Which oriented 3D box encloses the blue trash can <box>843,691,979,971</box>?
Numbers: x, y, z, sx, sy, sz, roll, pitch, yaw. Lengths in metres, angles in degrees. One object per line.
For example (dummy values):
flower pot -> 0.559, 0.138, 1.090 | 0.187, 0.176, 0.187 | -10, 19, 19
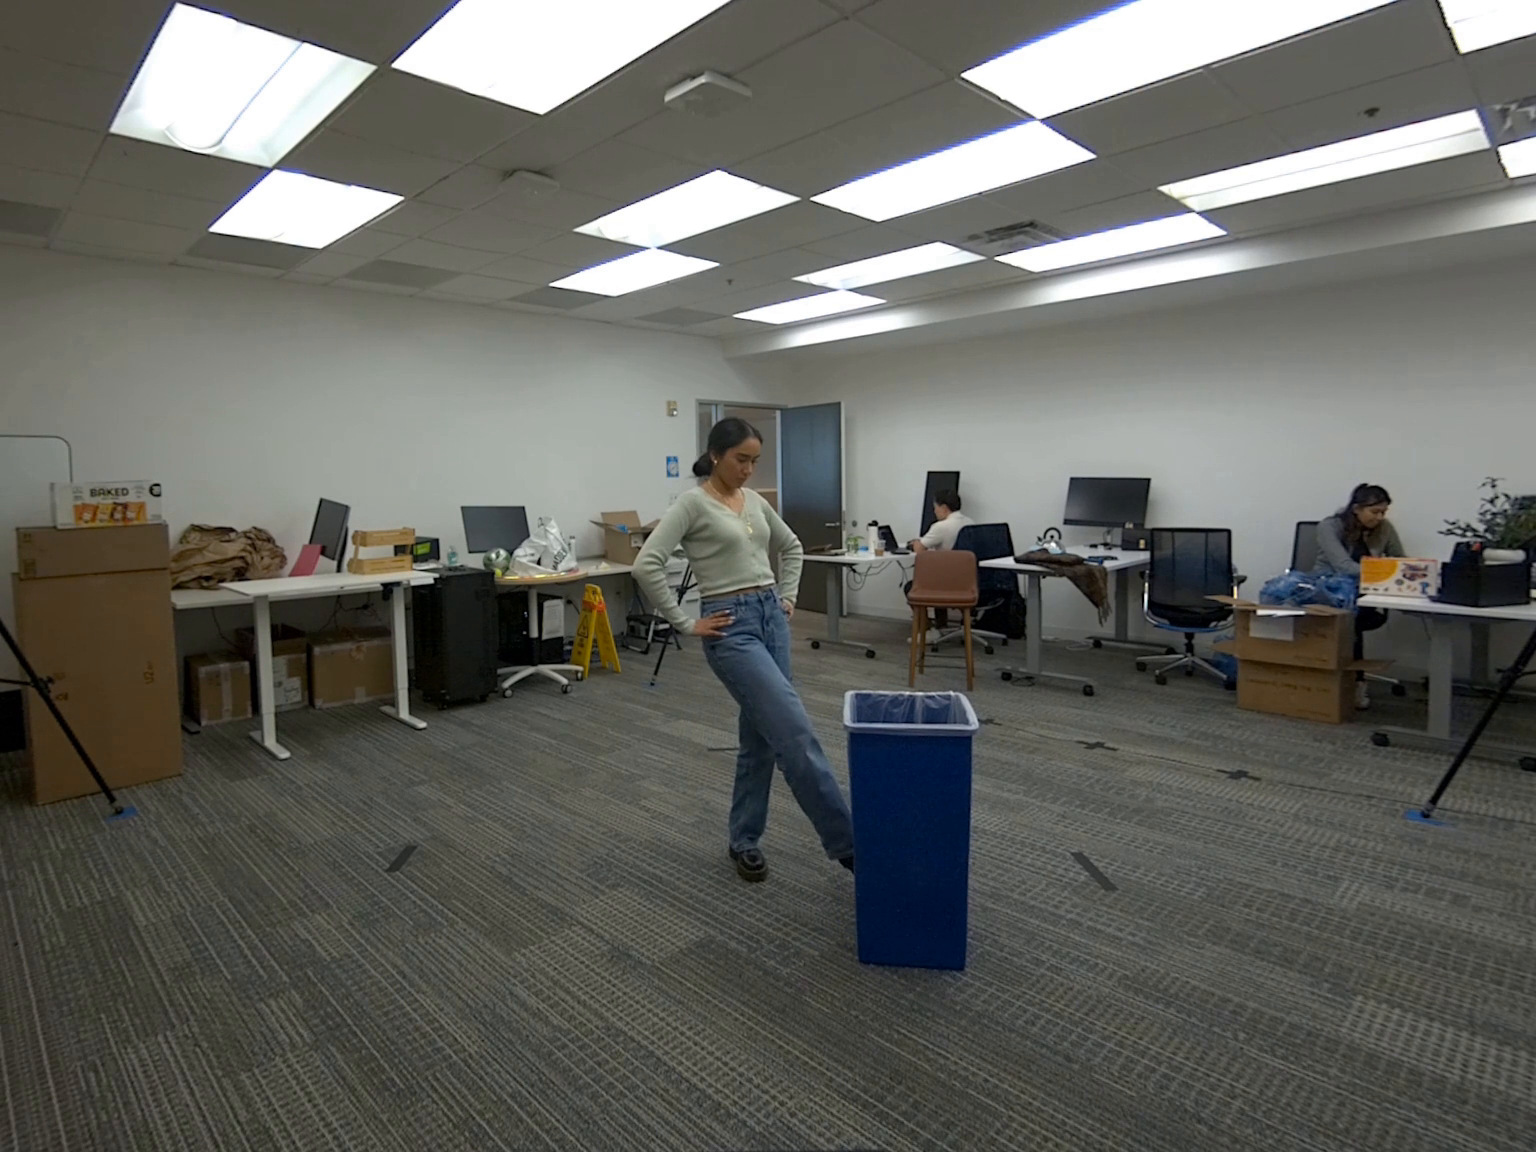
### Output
blue trash can -> 0.420, 0.743, 2.546 | 0.377, 0.710, 0.377 | 0, 5, 8
